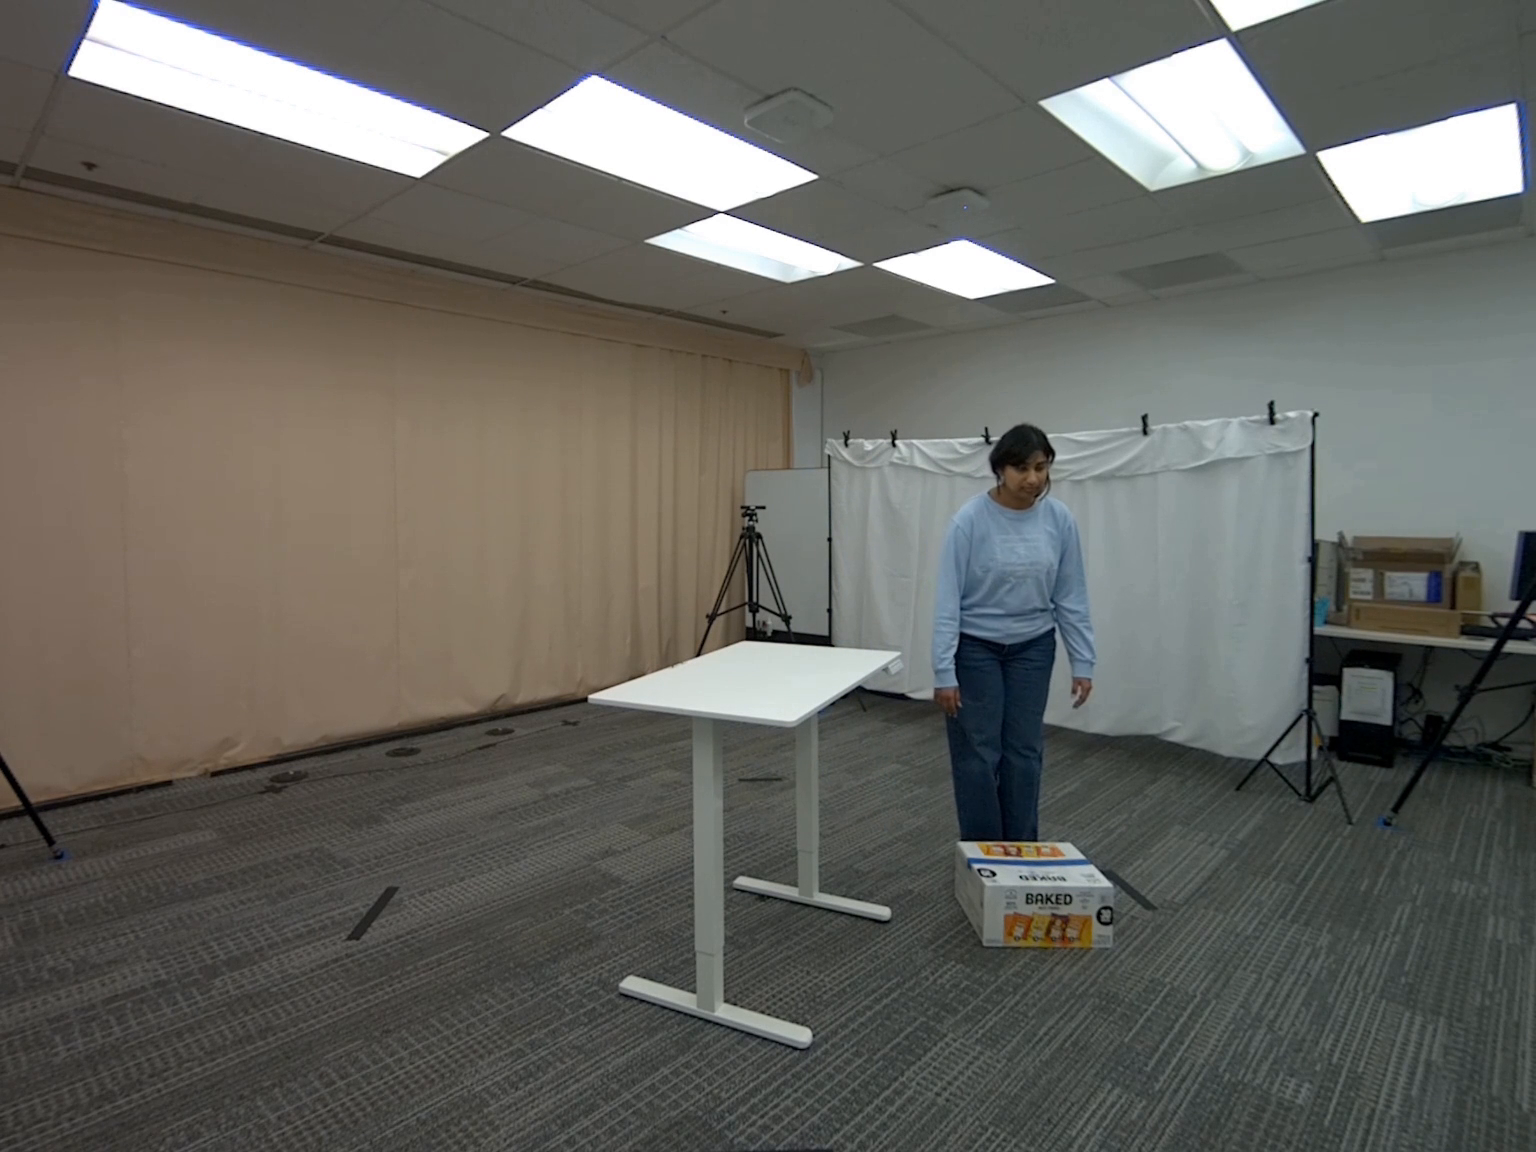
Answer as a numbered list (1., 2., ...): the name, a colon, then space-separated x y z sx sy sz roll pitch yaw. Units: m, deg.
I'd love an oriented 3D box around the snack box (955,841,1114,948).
1. snack box: 0.869 1.048 2.806 0.405 0.205 0.341 0 4 -1
